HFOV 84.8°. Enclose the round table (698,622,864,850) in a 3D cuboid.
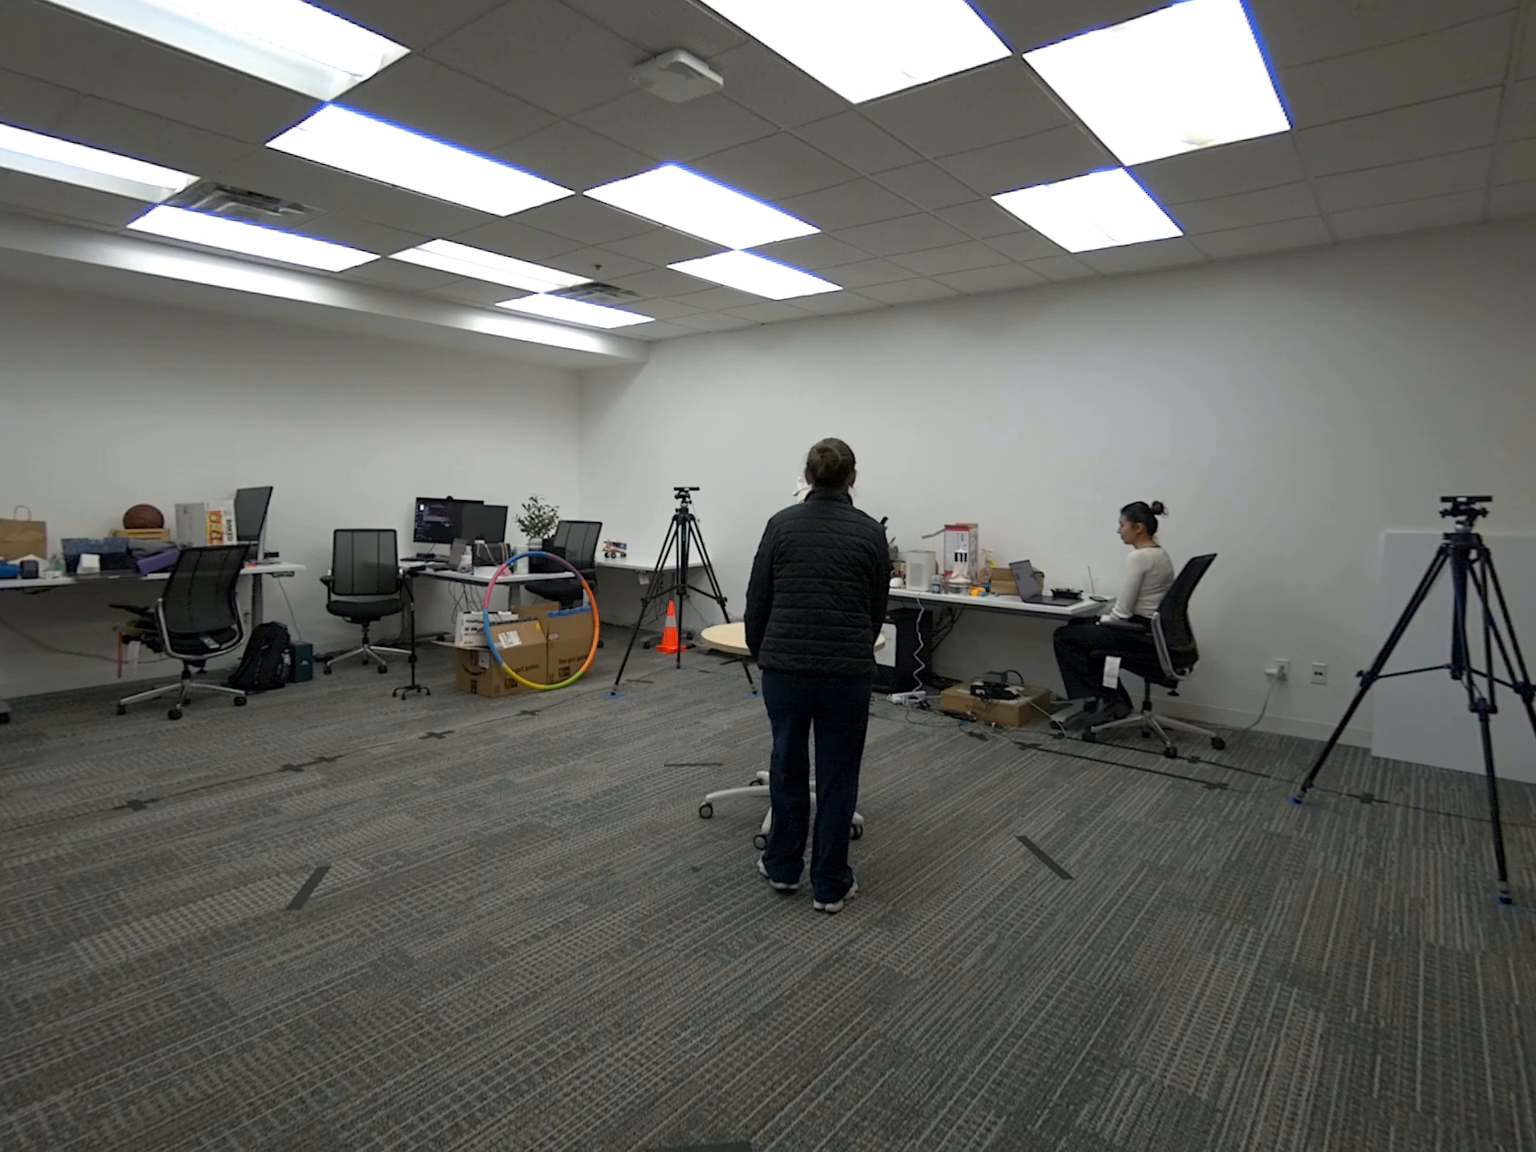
[{"bbox_3d":[0.107,0.629,3.582,0.784,0.784,0.789,1,4,-2],"label":"round table"}]
